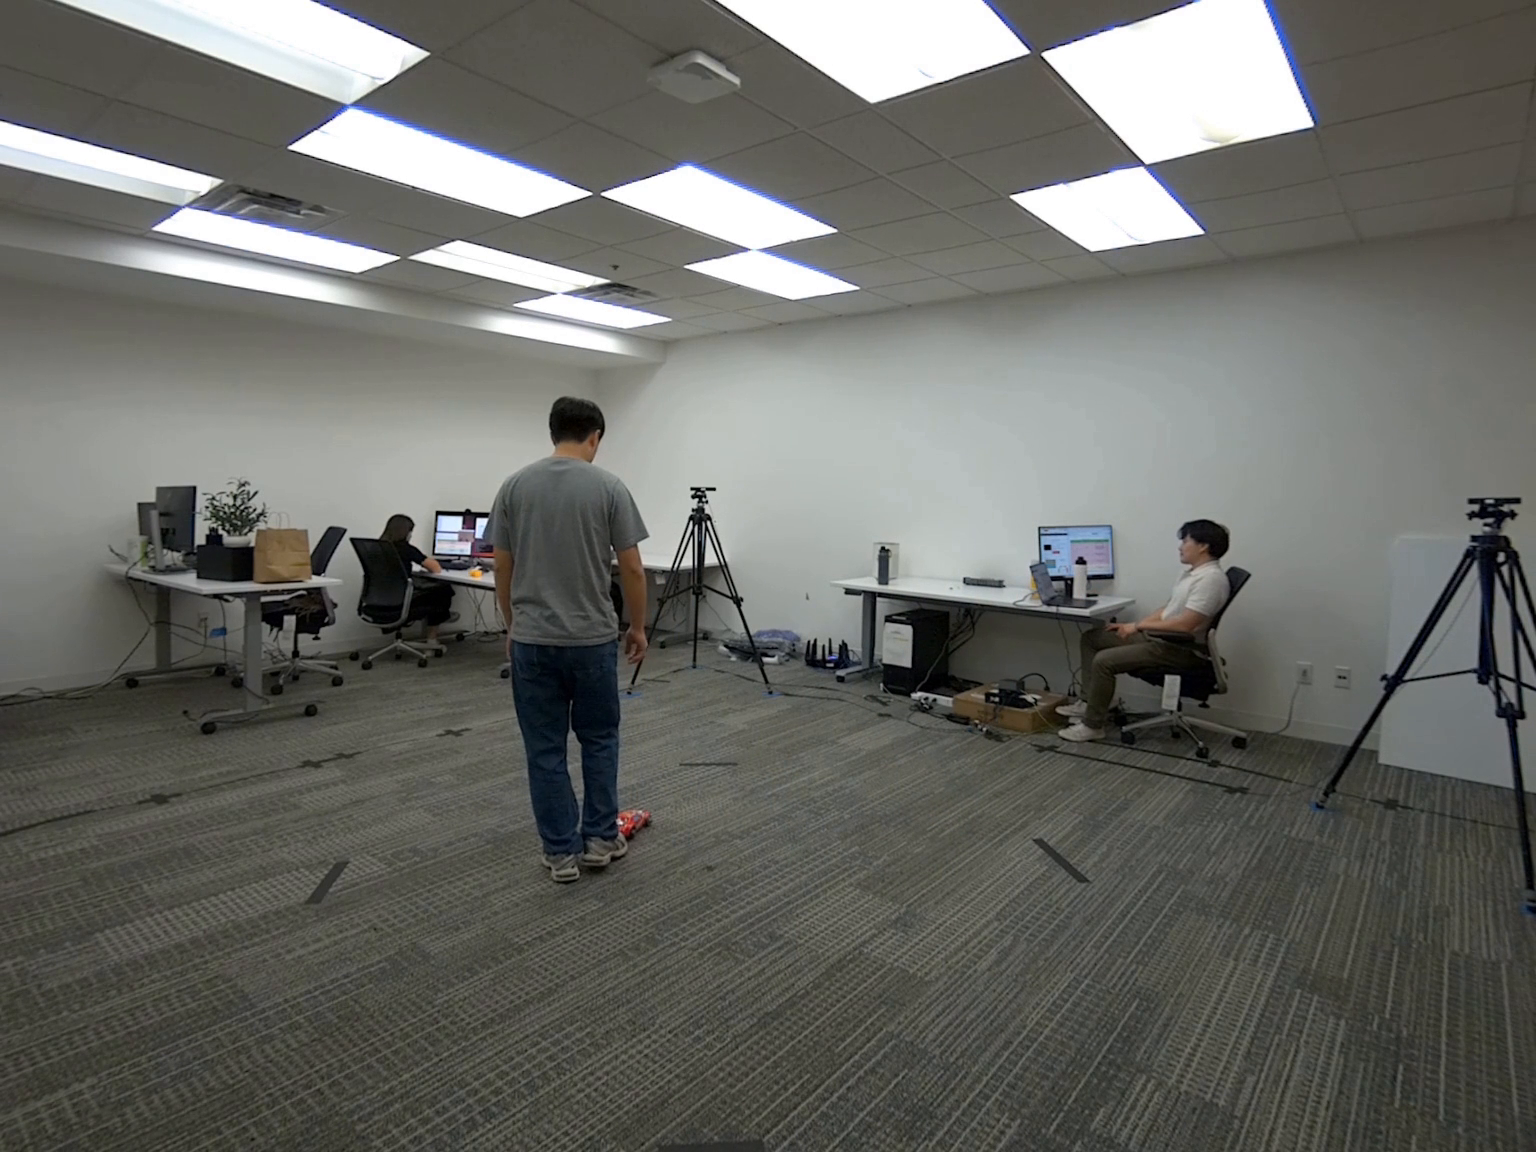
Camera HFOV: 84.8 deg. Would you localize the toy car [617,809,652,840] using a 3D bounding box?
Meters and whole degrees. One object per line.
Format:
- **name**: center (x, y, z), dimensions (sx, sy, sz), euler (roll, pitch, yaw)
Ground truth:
- **toy car**: center (-0.581, 0.995, 3.424), dimensions (0.133, 0.084, 0.247), euler (2, -6, 20)
